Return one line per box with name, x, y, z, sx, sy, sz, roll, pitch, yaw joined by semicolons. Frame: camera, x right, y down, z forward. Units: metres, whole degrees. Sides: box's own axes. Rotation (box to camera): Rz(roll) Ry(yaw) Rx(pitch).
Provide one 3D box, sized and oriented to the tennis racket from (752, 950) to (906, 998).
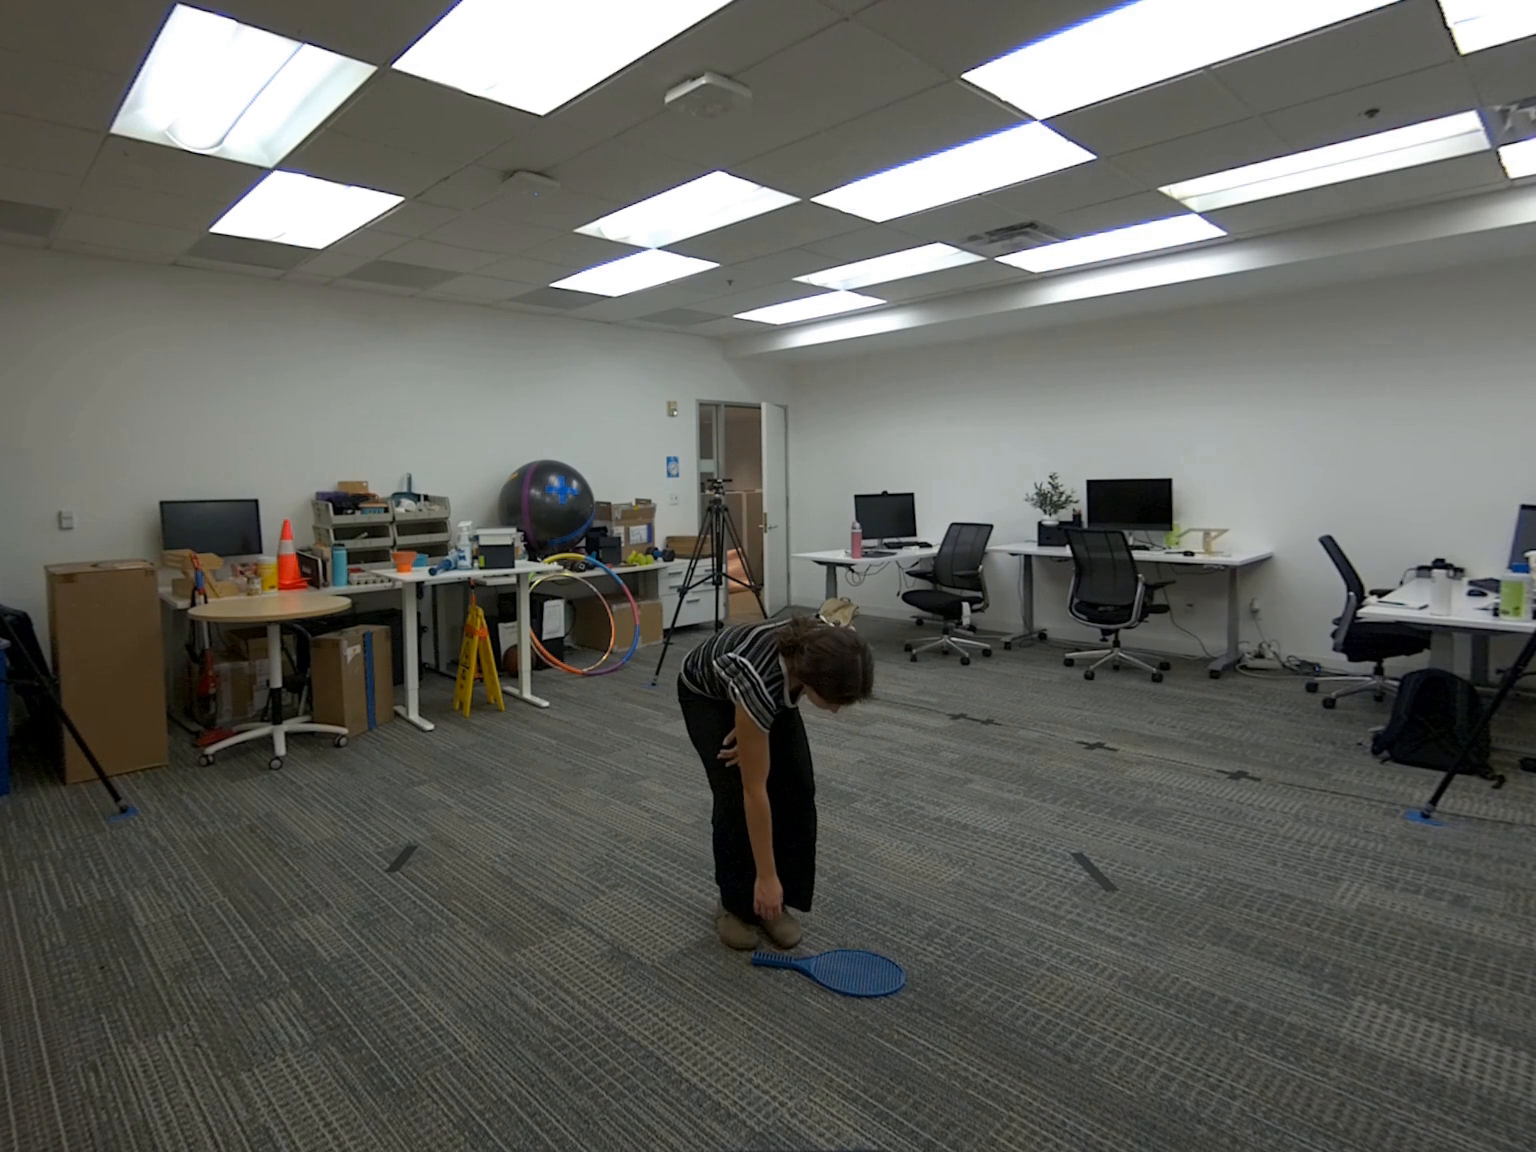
tennis racket;0.167;1.106;2.421;0.437;0.031;0.213;1;7;9
